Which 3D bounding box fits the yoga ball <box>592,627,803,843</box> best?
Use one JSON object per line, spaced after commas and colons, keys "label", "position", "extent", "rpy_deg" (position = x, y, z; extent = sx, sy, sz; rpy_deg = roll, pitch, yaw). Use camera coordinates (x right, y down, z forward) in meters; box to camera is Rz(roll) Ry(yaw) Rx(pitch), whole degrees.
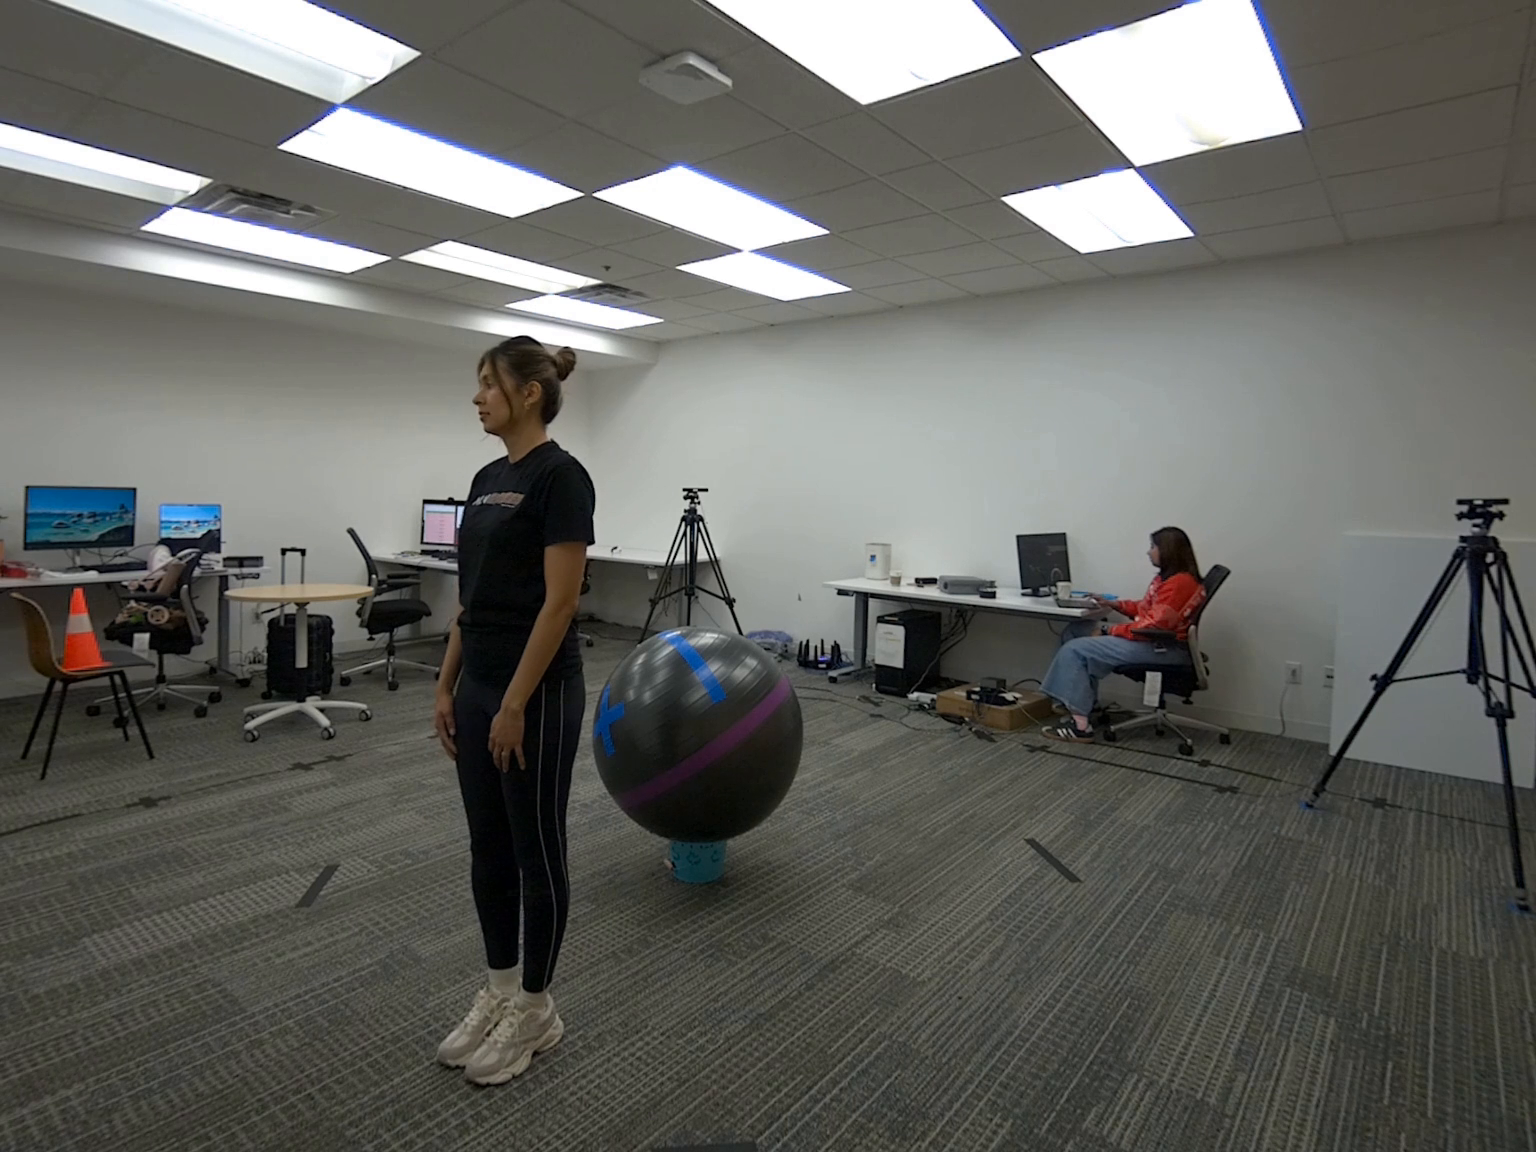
{"label": "yoga ball", "position": [-0.263, 0.564, 3.068], "extent": [0.757, 0.755, 0.762], "rpy_deg": [1, 4, -2]}
